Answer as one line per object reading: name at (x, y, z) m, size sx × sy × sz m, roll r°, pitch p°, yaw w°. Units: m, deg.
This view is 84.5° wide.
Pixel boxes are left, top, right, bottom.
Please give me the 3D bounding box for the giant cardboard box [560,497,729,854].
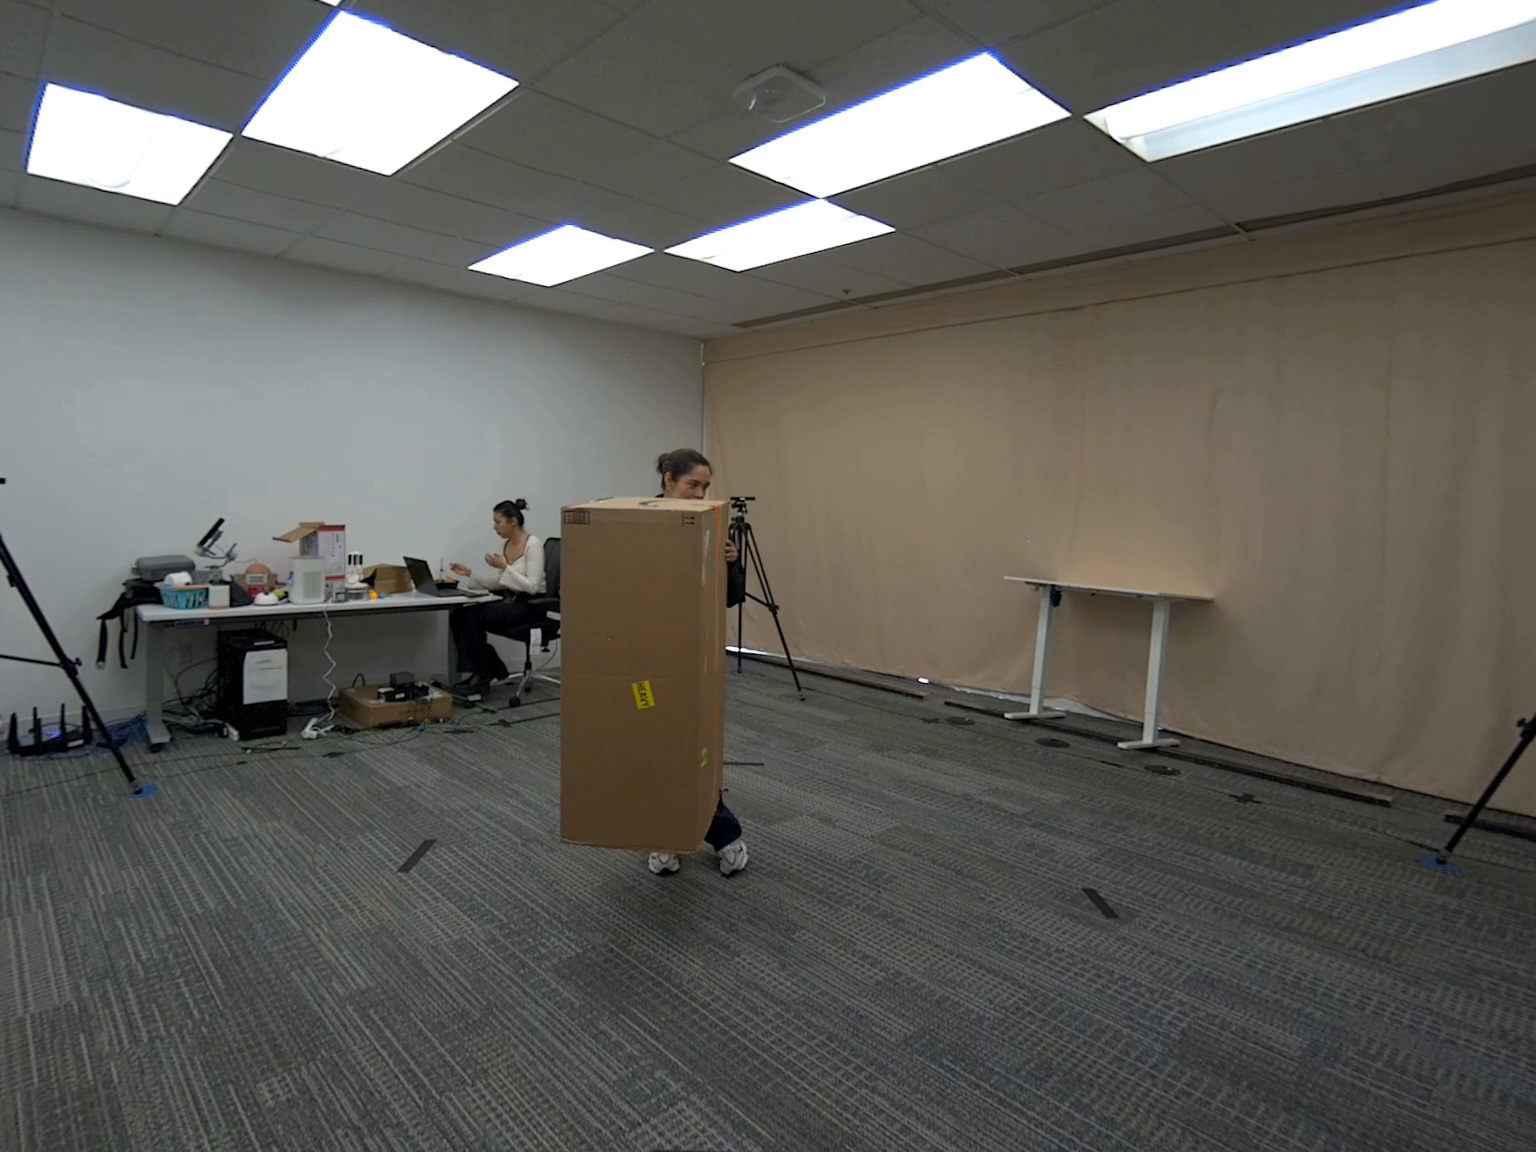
giant cardboard box at (-0.374, 0.281, 2.726) m, size 0.429 × 1.022 × 0.576 m, roll 2°, pitch 6°, yaw 6°
